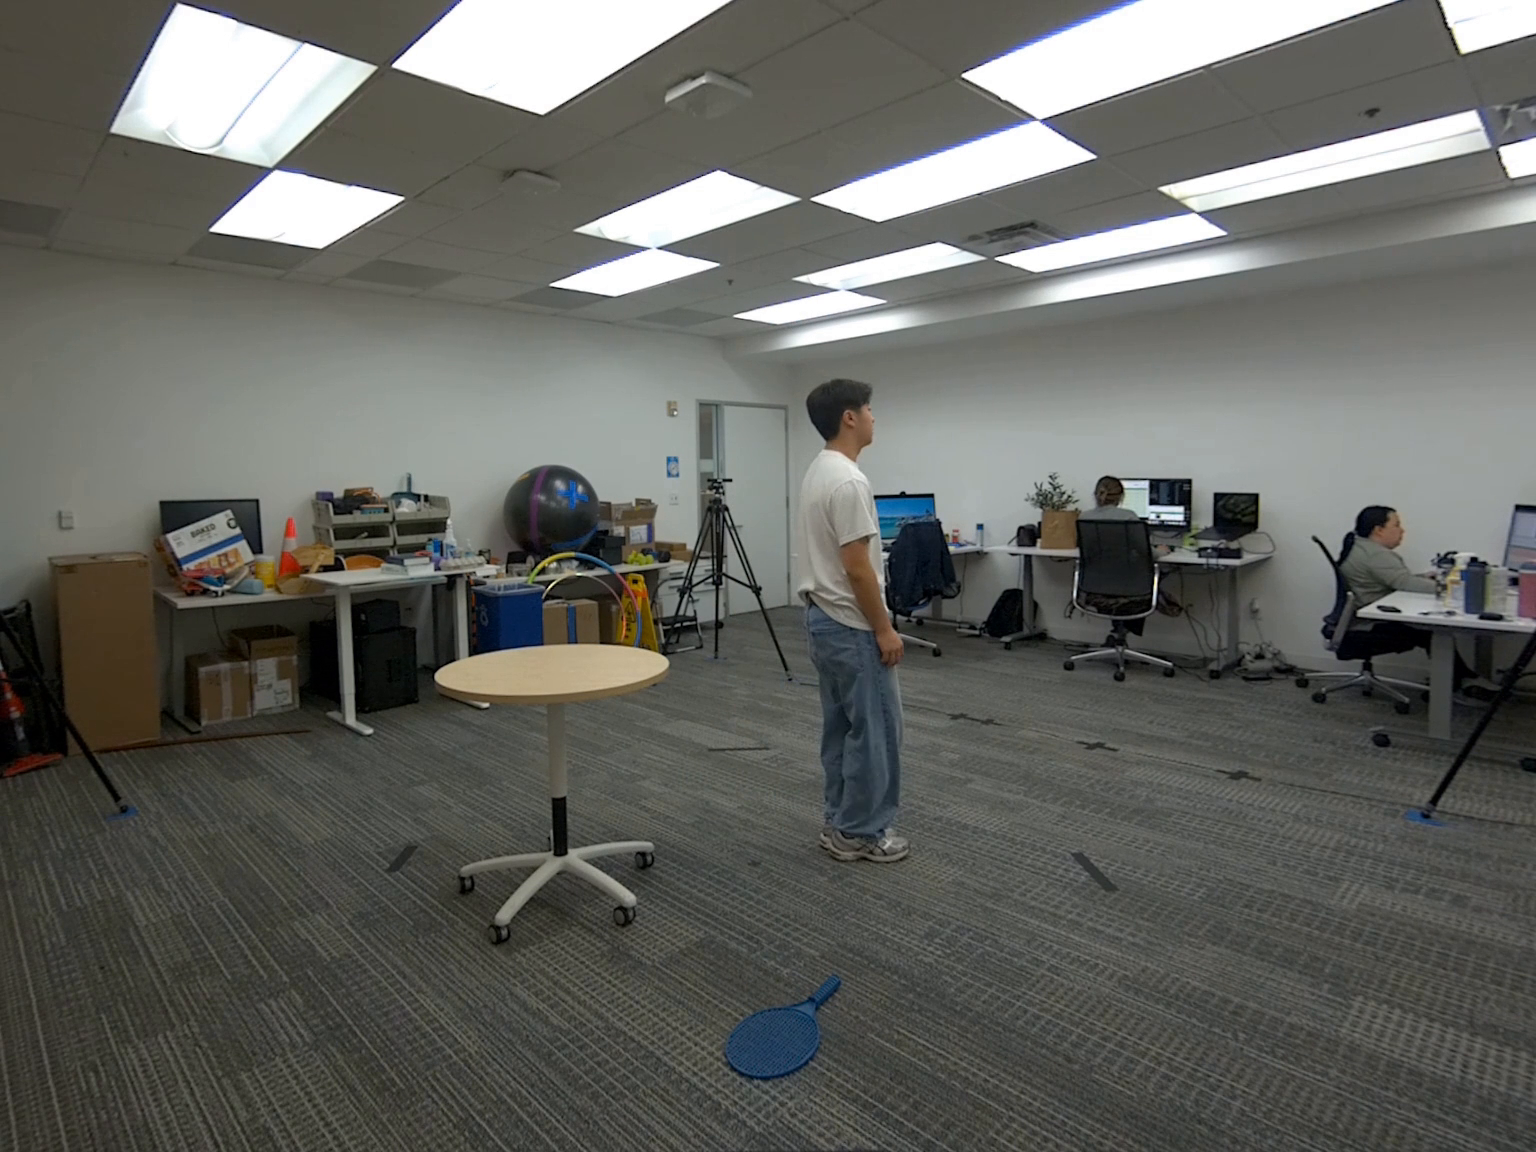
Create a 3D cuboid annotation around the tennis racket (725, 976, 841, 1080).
[{"bbox_3d":[0.071,1.139,2.179,0.220,0.031,0.423,4,10,38],"label":"tennis racket"}]
